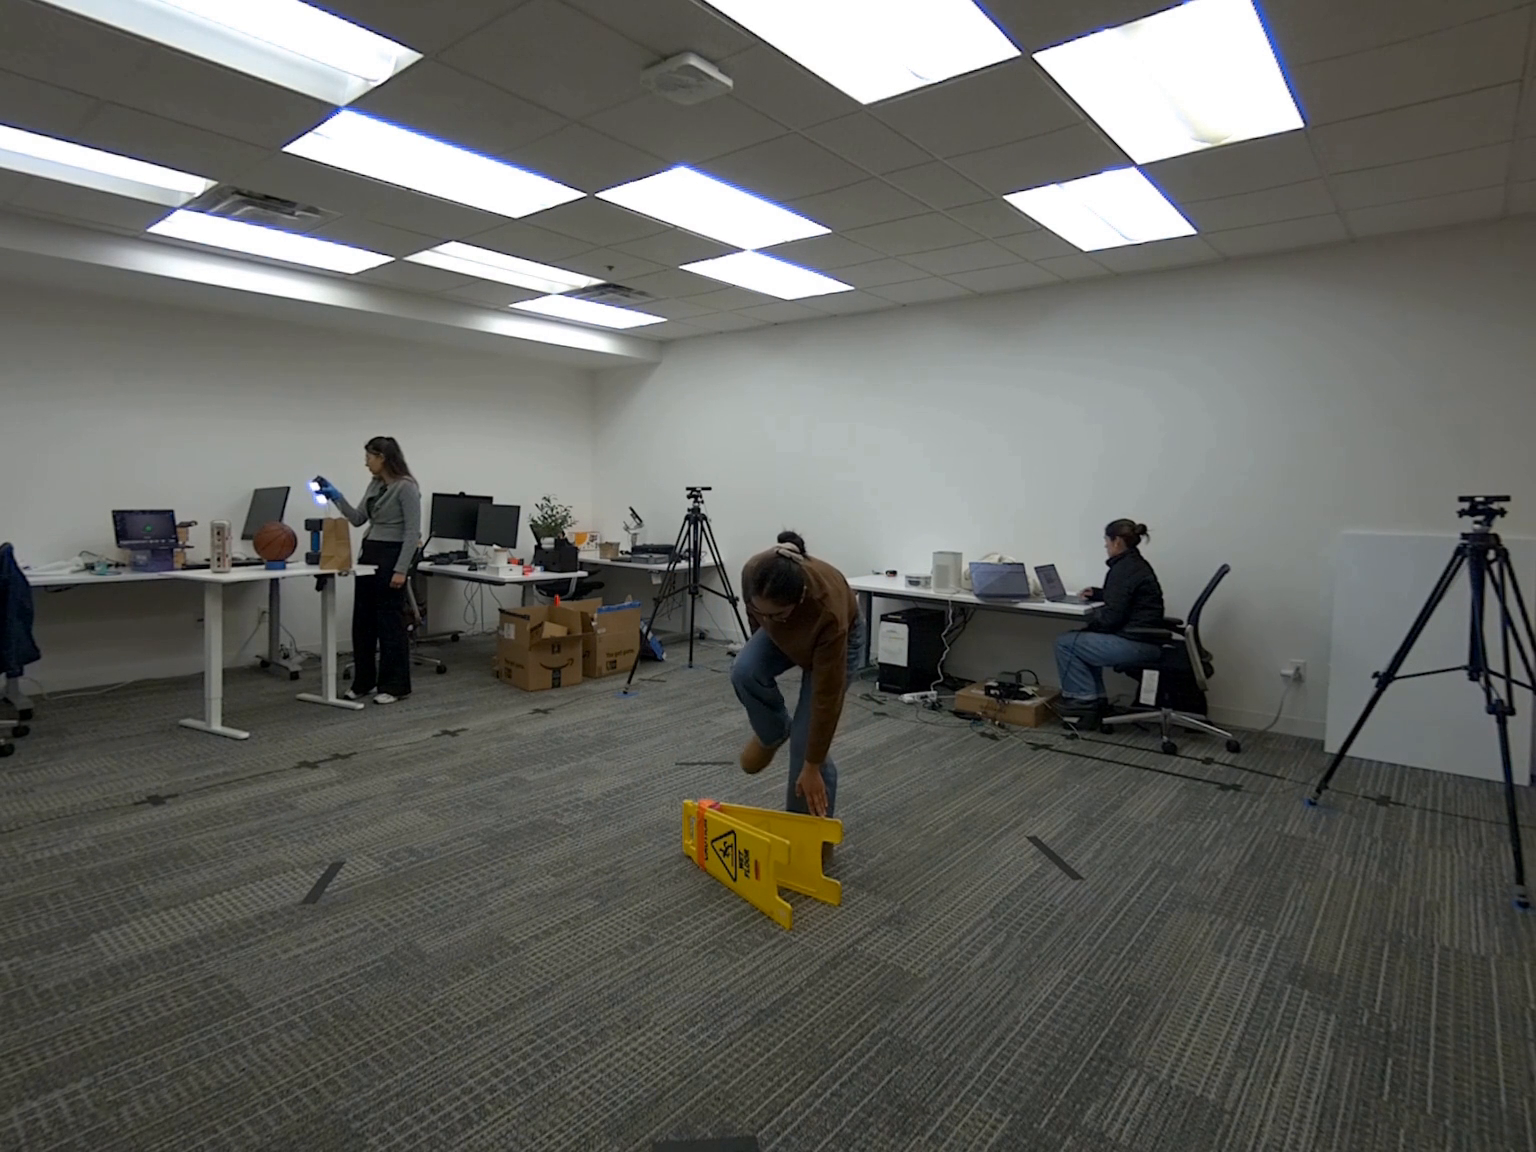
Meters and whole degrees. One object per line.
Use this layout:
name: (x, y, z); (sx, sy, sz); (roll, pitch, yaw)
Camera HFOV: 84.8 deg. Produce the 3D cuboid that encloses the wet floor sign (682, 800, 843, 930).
wet floor sign: (-0.090, 0.953, 2.989); (0.667, 0.282, 0.281); (2, 3, 44)
